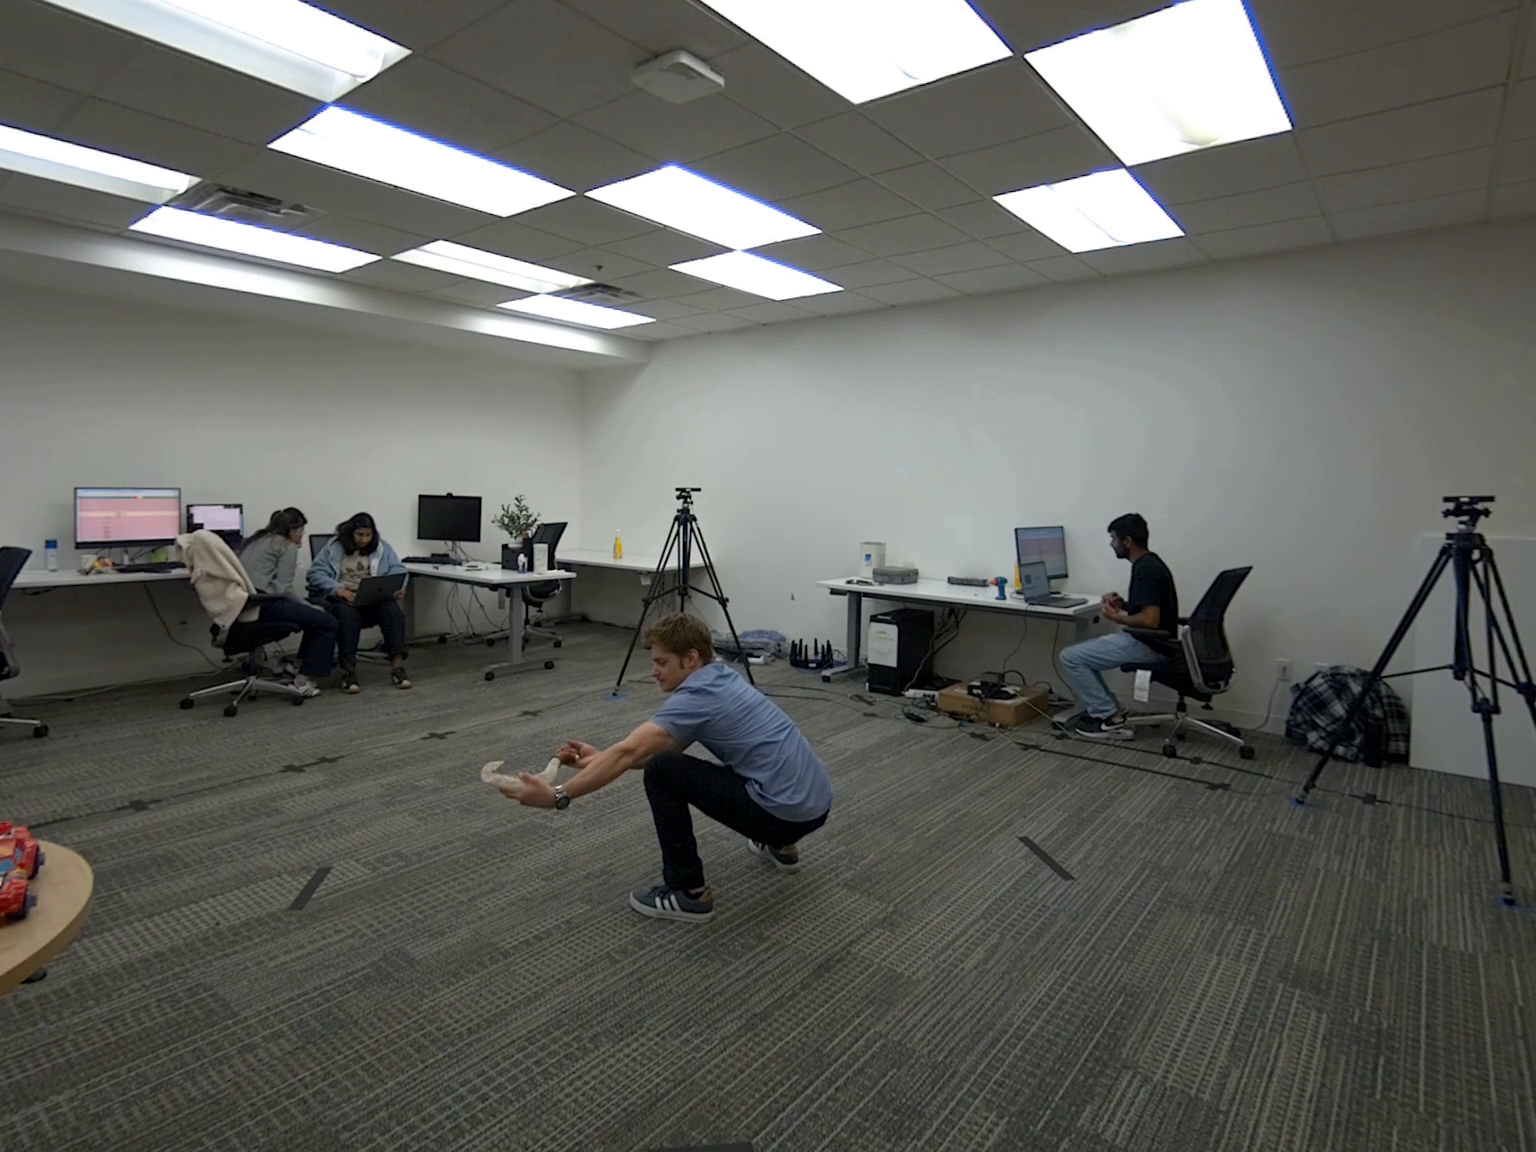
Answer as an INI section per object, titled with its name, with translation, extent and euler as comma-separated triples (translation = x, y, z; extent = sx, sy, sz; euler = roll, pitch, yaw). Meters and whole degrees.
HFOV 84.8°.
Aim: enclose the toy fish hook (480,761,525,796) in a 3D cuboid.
[toy fish hook]
translation = -0.751, 0.587, 2.692
extent = 0.227, 0.048, 0.501
euler = 13, 2, 6
